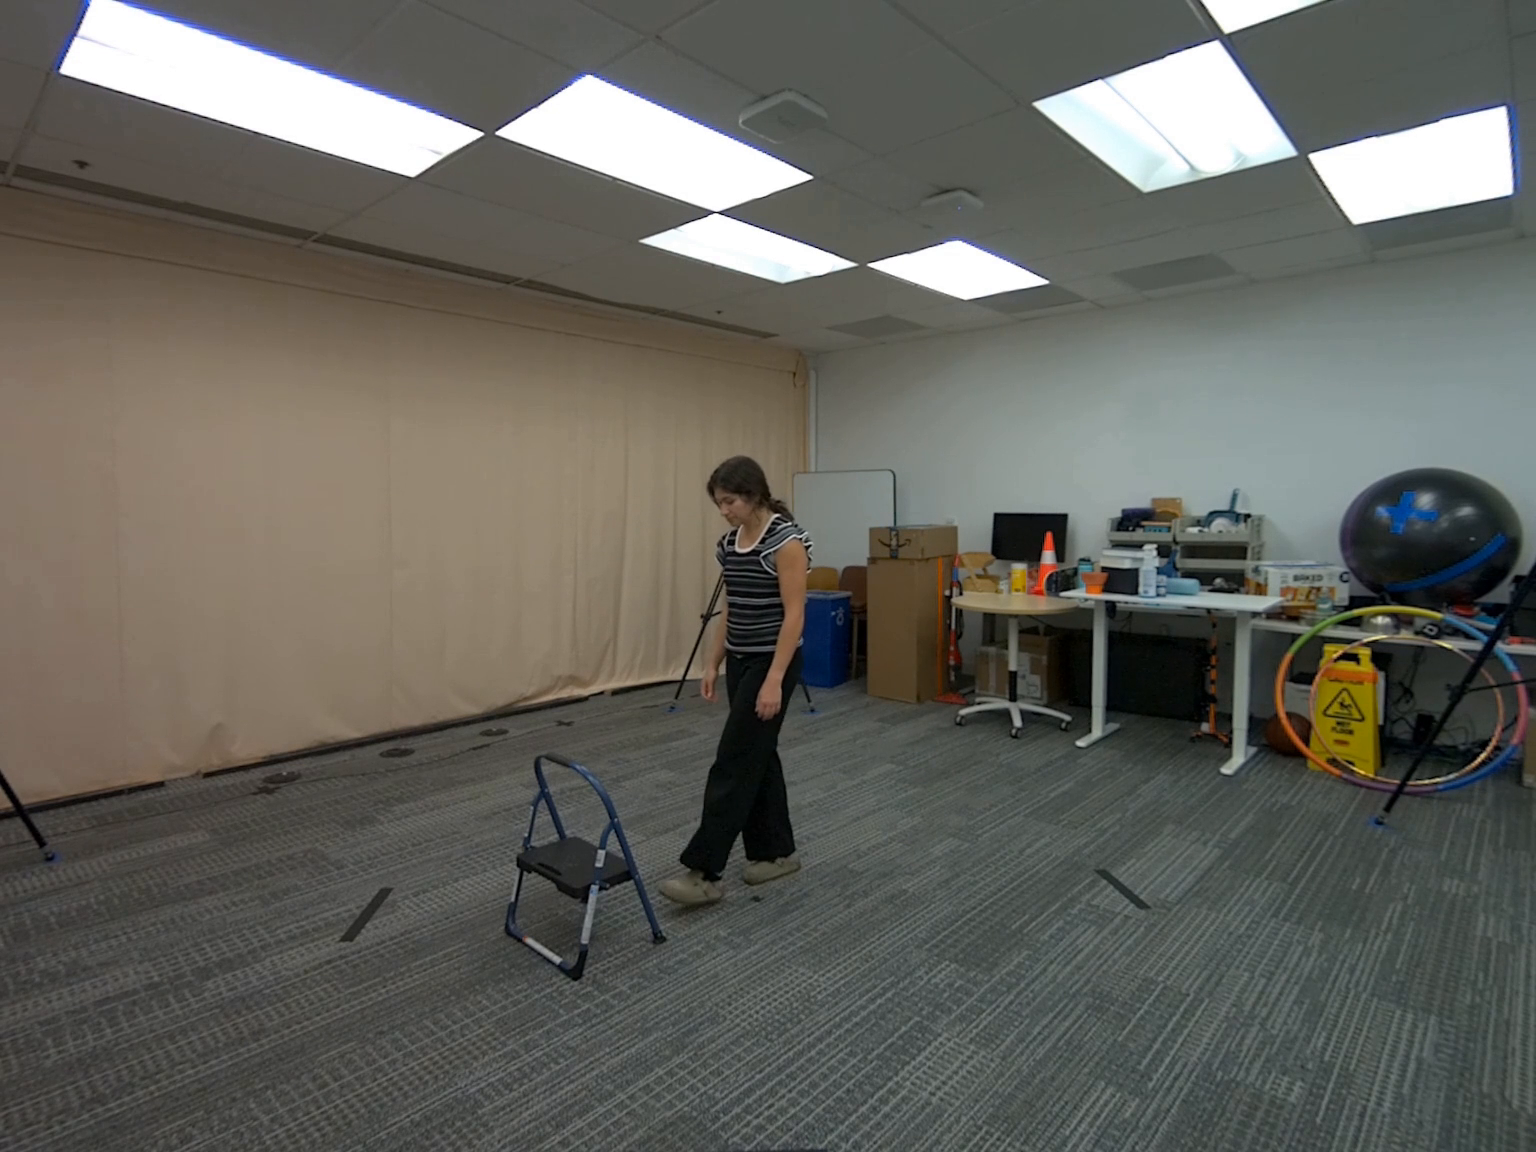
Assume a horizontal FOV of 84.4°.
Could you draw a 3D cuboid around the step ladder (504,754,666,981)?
[{"bbox_3d":[-0.599,0.871,2.716,0.445,0.605,0.338,2,4,43],"label":"step ladder"}]
